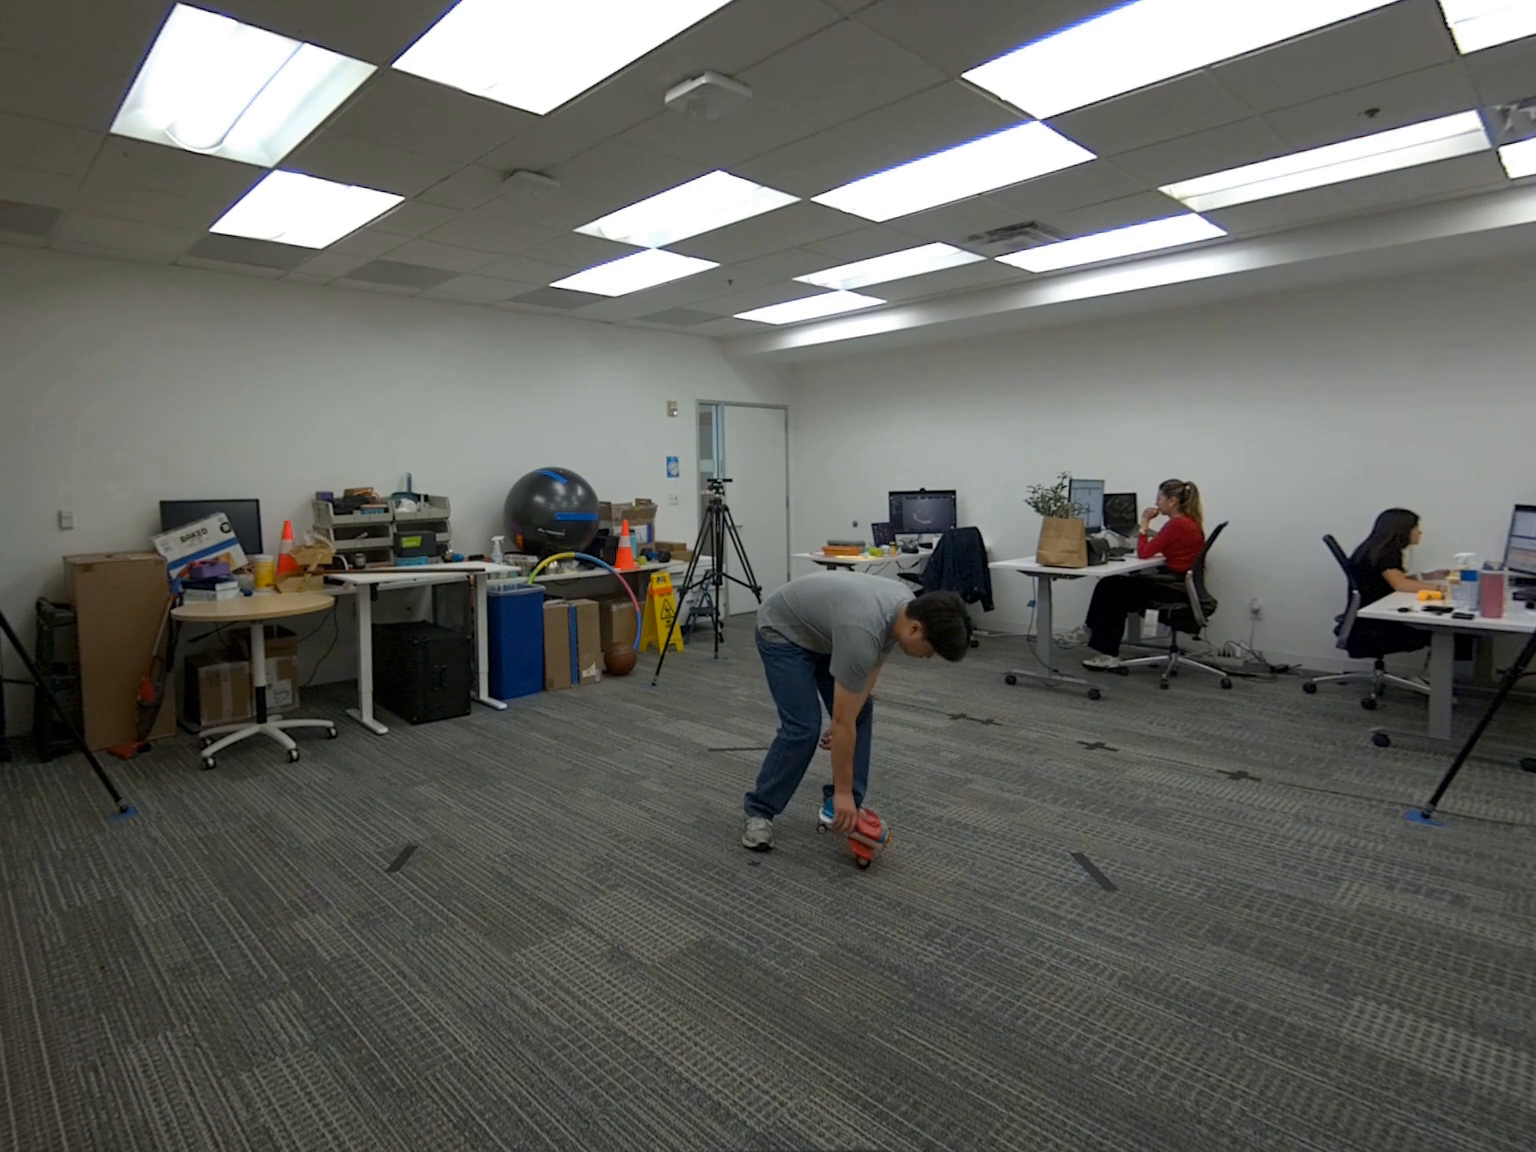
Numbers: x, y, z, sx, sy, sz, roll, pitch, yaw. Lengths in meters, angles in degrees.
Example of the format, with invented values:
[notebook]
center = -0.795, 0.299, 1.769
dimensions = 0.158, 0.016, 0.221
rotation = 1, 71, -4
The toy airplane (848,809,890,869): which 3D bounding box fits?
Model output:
[toy airplane]
center = 0.327, 0.930, 3.091
dimensions = 0.252, 0.156, 0.258
rotation = 33, 7, -23
